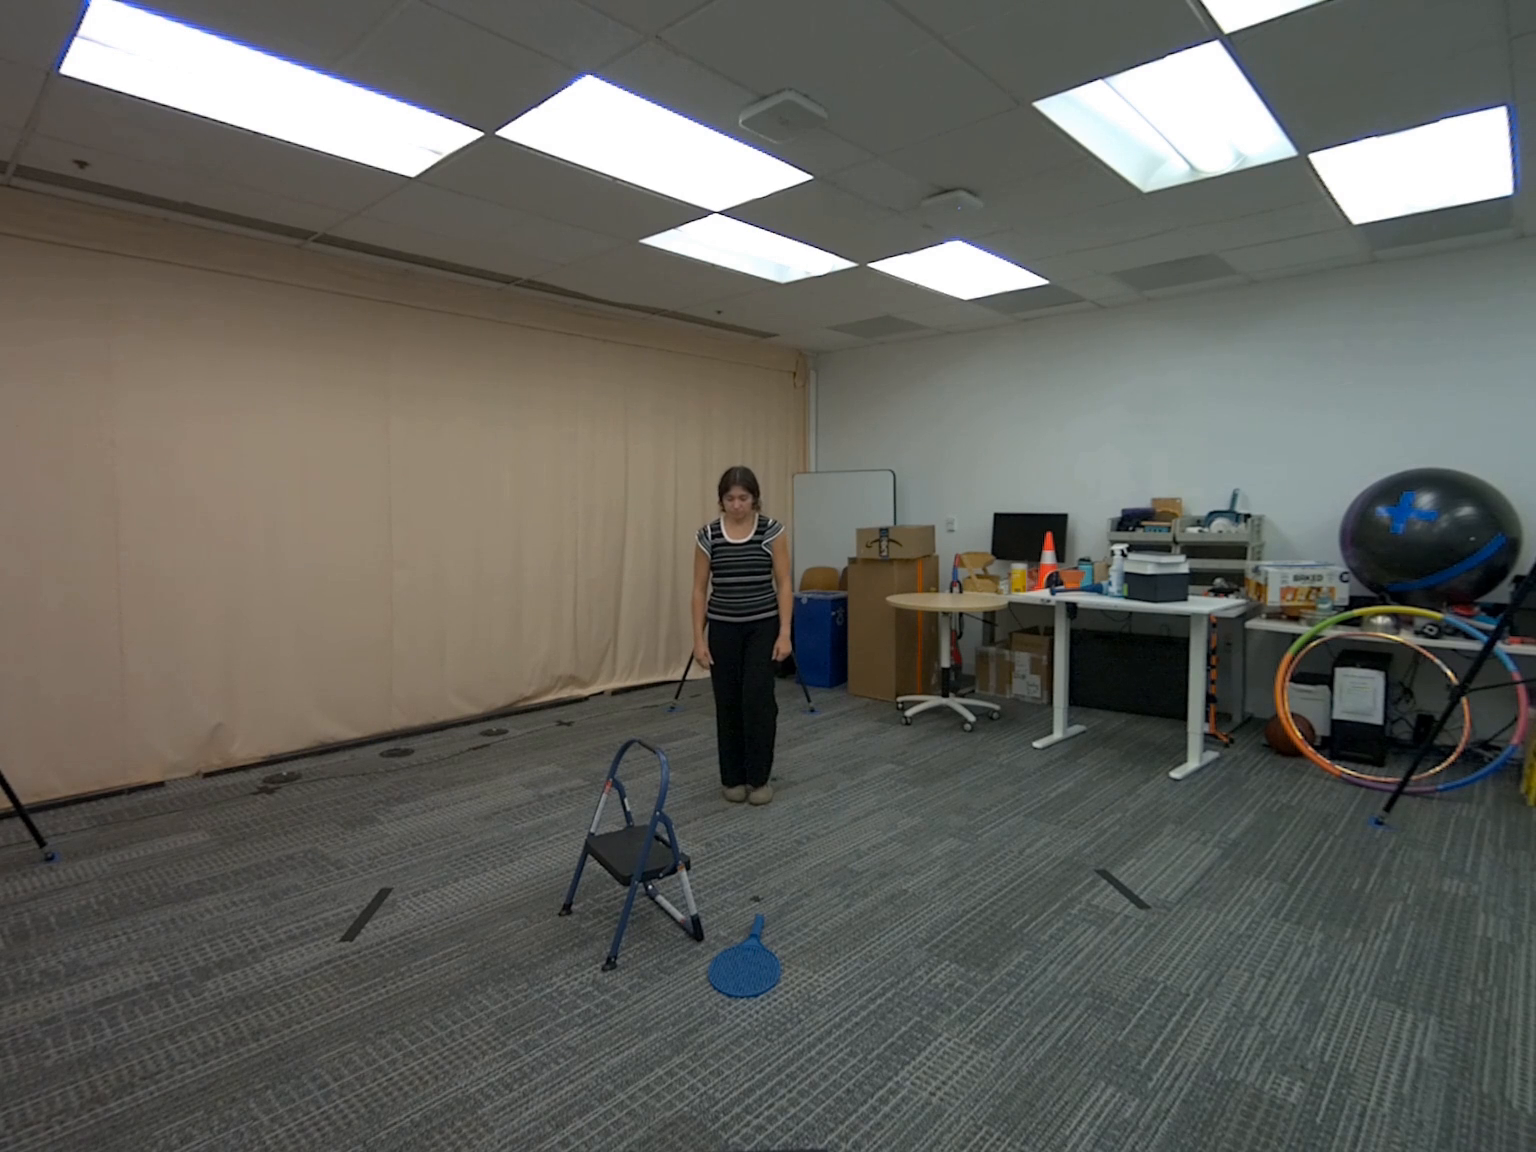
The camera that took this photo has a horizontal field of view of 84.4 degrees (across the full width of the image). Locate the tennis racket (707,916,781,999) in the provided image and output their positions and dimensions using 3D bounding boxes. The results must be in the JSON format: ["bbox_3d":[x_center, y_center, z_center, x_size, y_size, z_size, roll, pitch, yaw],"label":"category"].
[{"bbox_3d":[-0.062,1.153,2.594,0.217,0.031,0.428,1,7,12],"label":"tennis racket"}]
